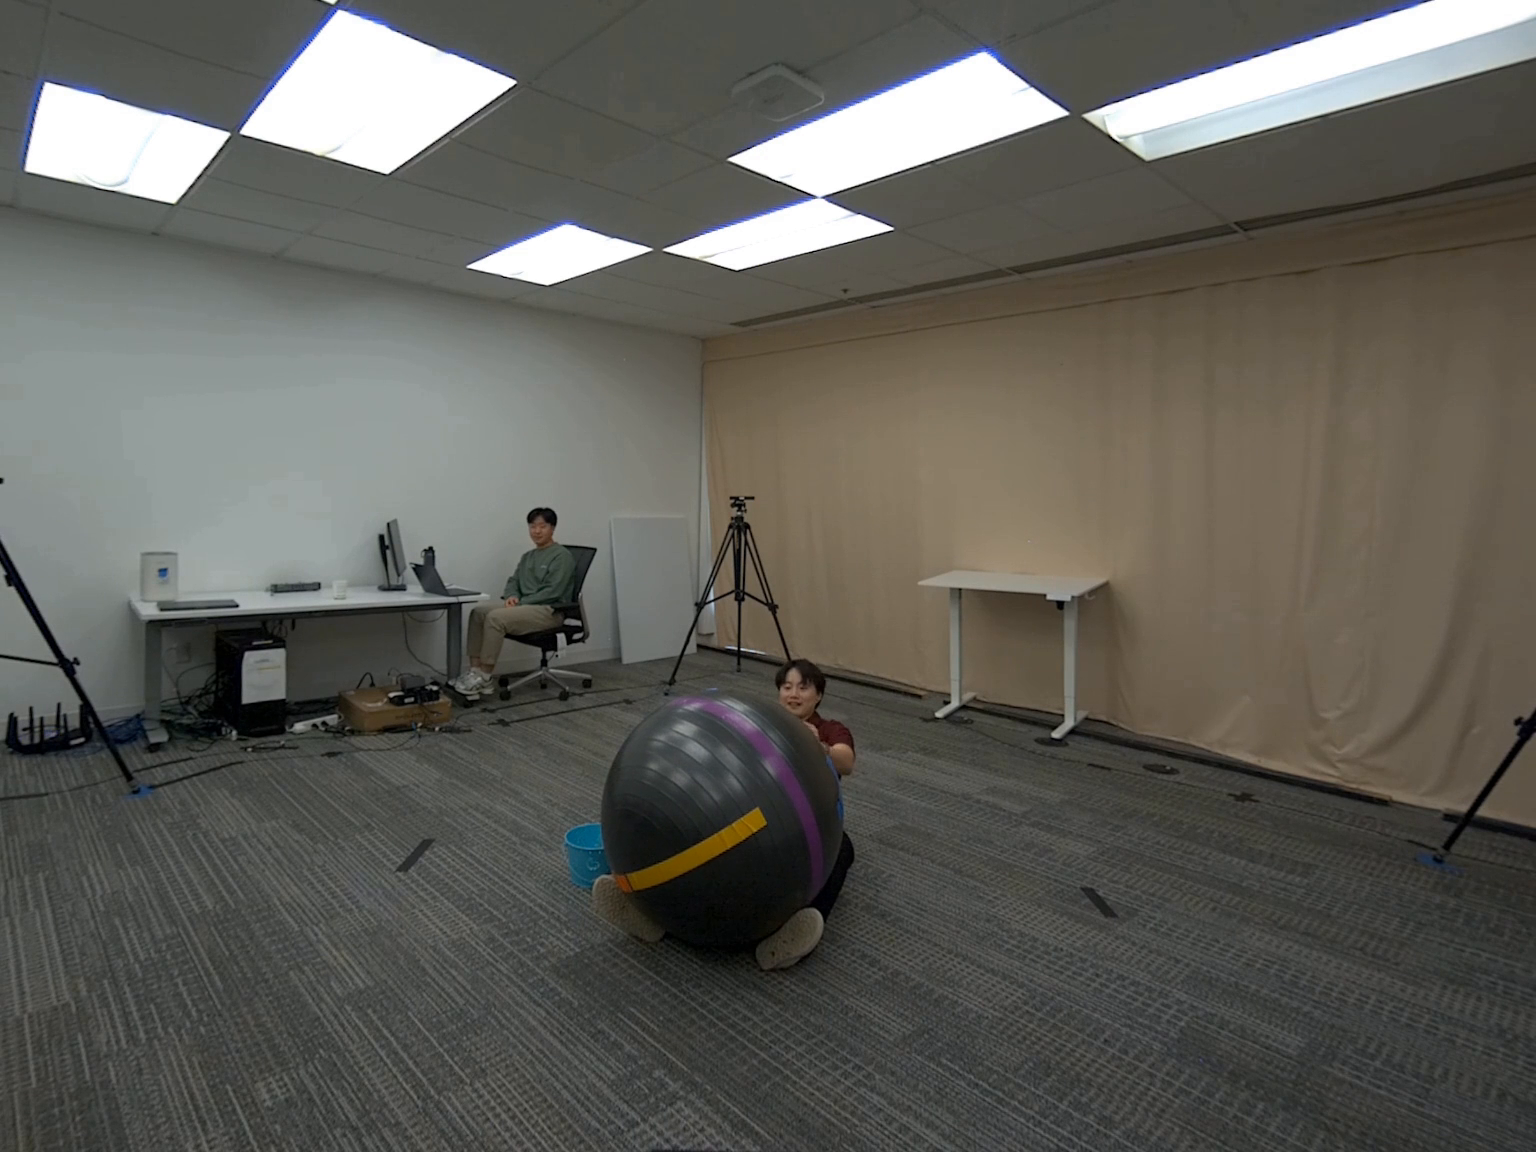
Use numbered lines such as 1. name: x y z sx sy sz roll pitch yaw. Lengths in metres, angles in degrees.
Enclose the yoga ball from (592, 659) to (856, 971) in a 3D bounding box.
1. yoga ball: -0.142 0.747 2.636 0.757 0.756 0.761 1 4 -1
